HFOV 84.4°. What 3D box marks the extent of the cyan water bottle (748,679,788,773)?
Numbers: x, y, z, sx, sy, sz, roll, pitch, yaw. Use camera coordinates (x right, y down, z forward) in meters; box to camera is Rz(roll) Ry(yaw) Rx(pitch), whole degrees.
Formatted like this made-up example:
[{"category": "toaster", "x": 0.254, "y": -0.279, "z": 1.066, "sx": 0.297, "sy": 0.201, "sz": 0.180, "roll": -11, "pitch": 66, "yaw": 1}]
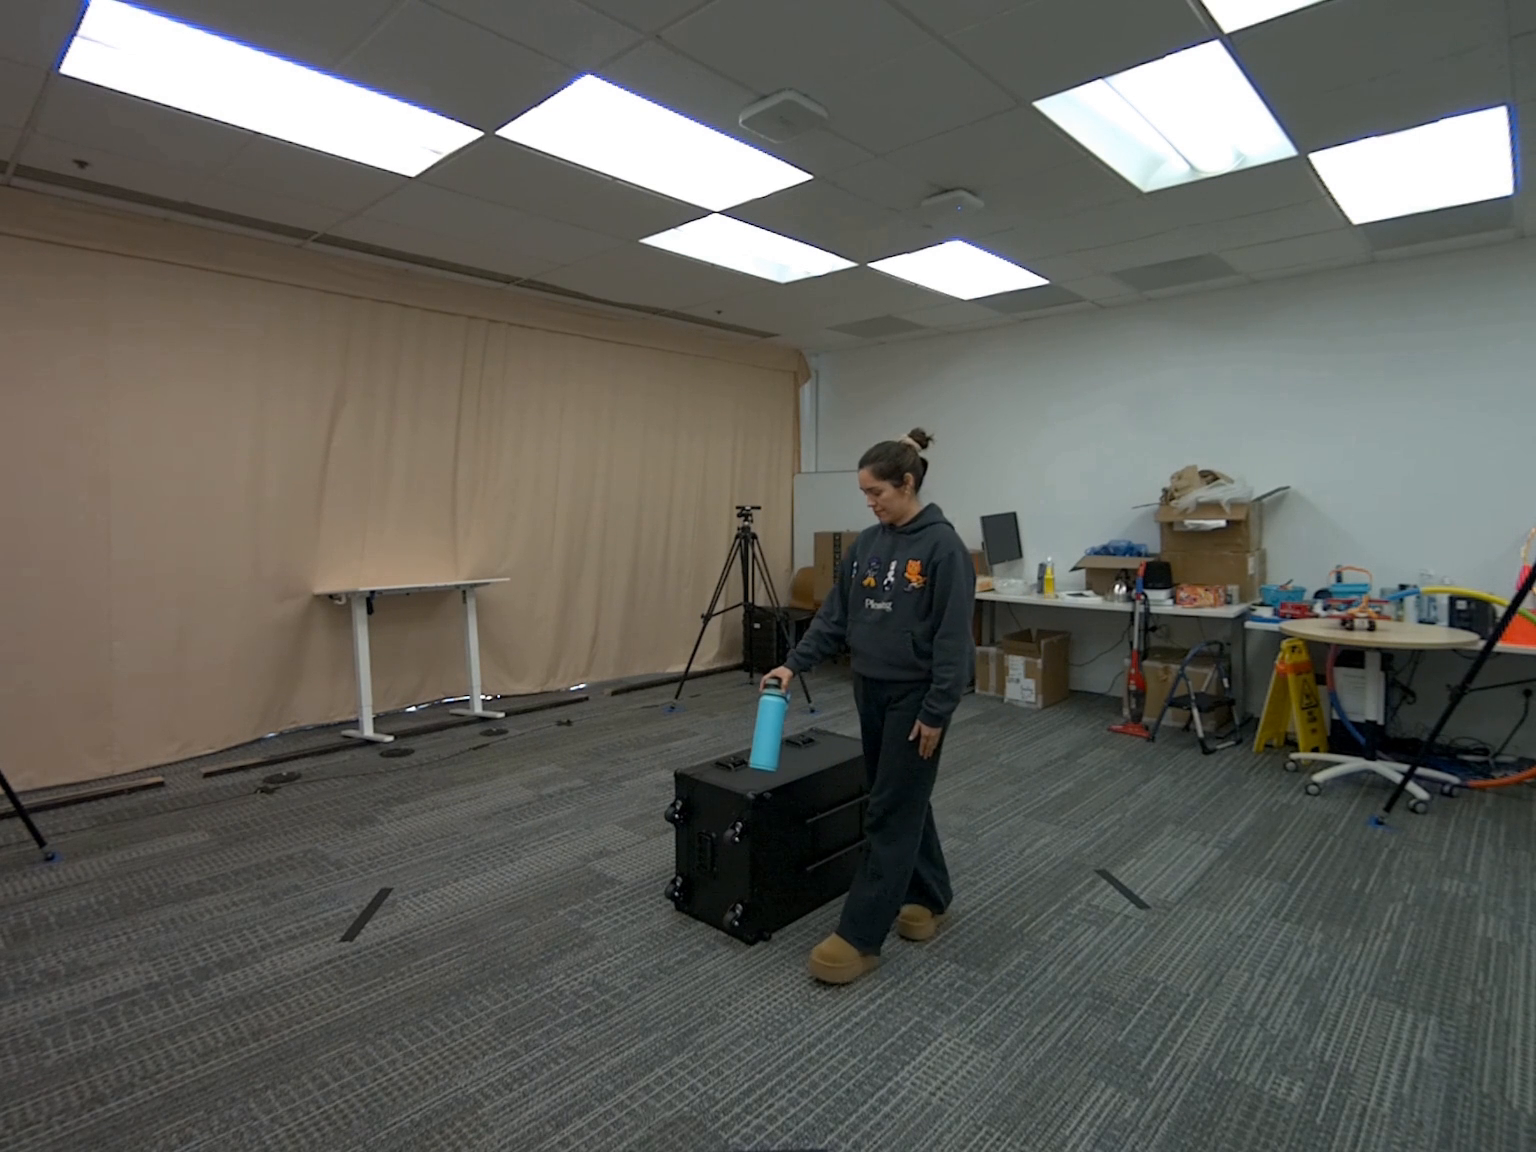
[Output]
[{"category": "cyan water bottle", "x": 0.028, "y": 0.480, "z": 2.689, "sx": 0.092, "sy": 0.285, "sz": 0.091, "roll": 9, "pitch": -14, "yaw": 0}]
